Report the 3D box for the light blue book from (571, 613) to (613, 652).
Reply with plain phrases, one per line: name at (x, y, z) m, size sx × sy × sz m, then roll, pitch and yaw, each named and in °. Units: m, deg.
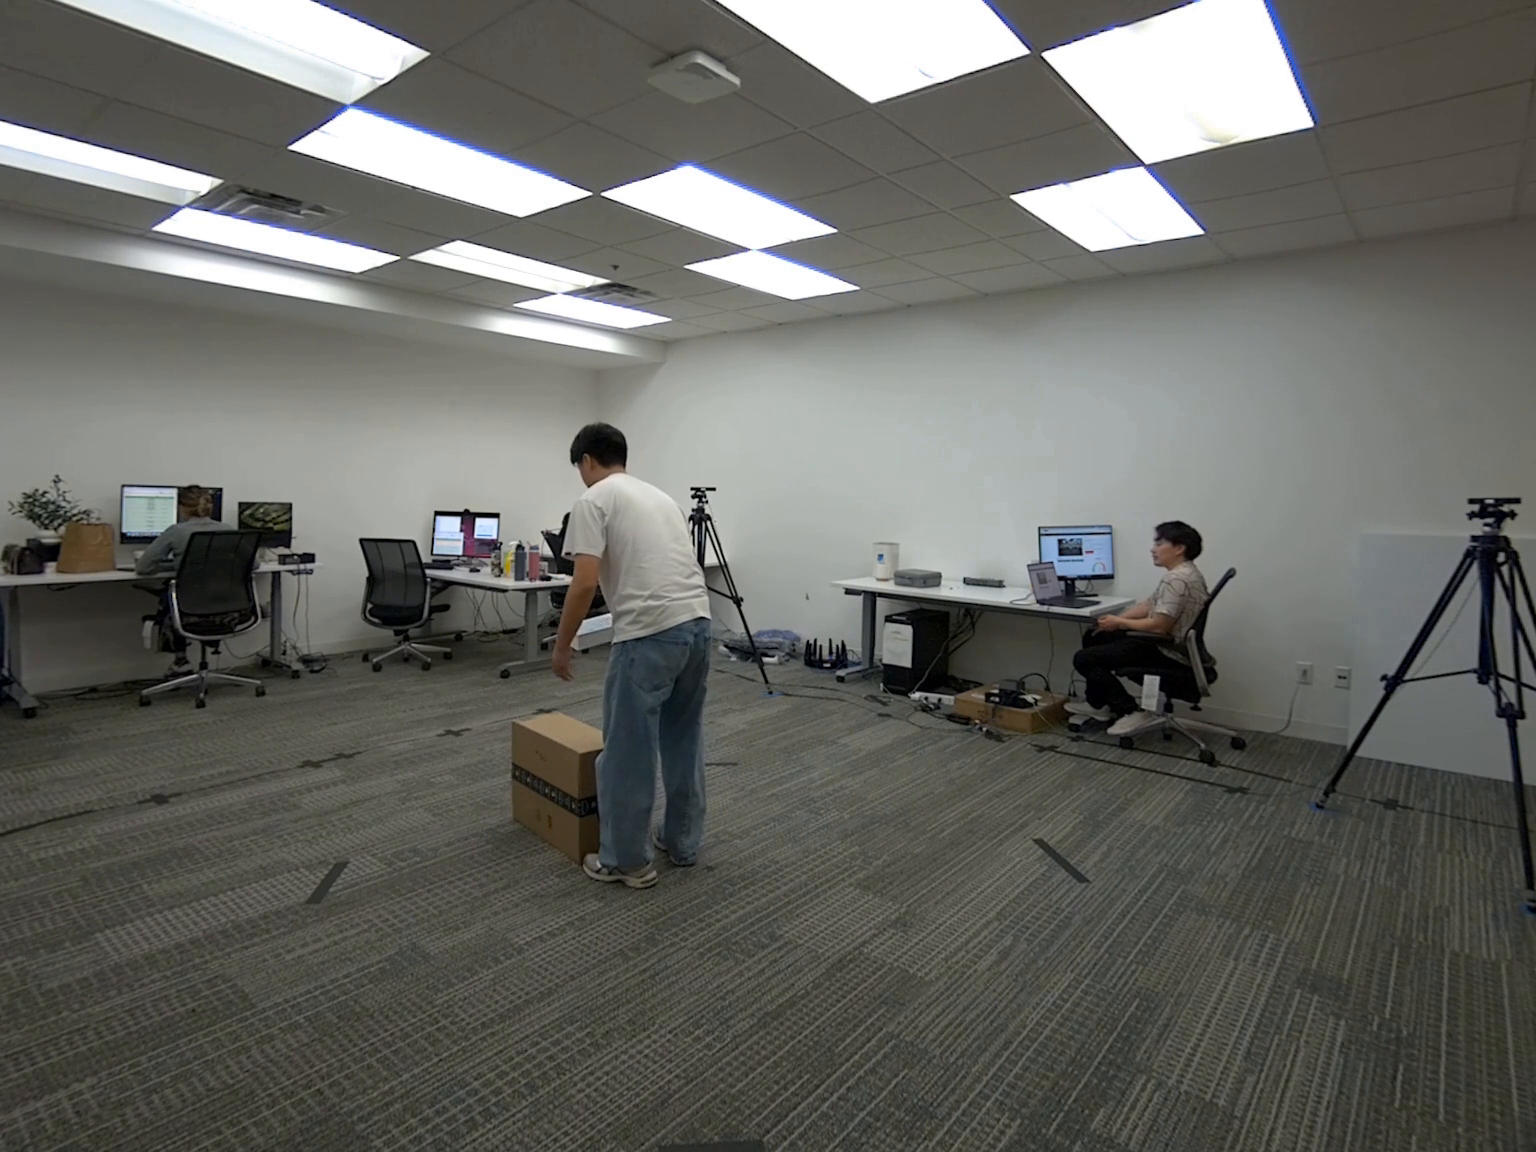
light blue book at (-0.679, 0.212, 3.306) m, size 0.255 × 0.058 × 0.198 m, roll -13°, pitch 16°, yaw -29°
